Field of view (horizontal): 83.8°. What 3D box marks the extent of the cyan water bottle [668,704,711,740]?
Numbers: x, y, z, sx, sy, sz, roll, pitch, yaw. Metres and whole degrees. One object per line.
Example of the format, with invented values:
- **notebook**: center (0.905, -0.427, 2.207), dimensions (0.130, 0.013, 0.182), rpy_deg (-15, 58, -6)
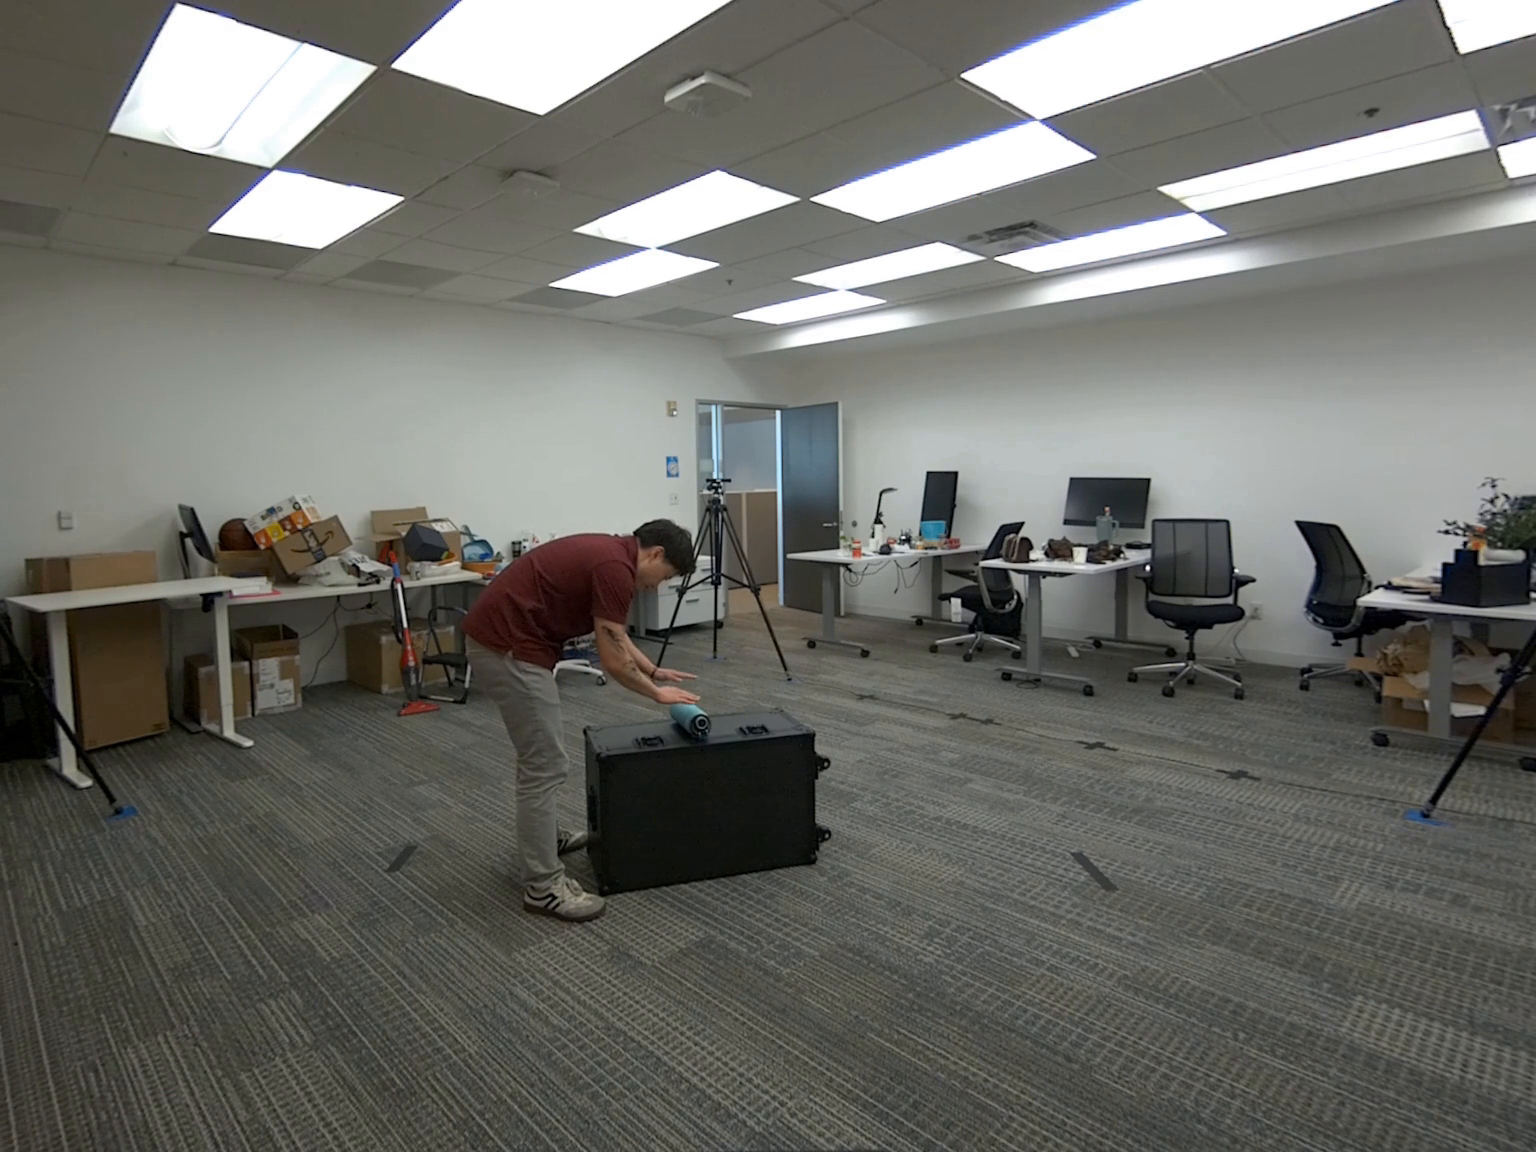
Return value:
- **cyan water bottle**: center (-0.283, 0.511, 3.108), dimensions (0.091, 0.092, 0.289), rpy_deg (-3, 5, -20)
